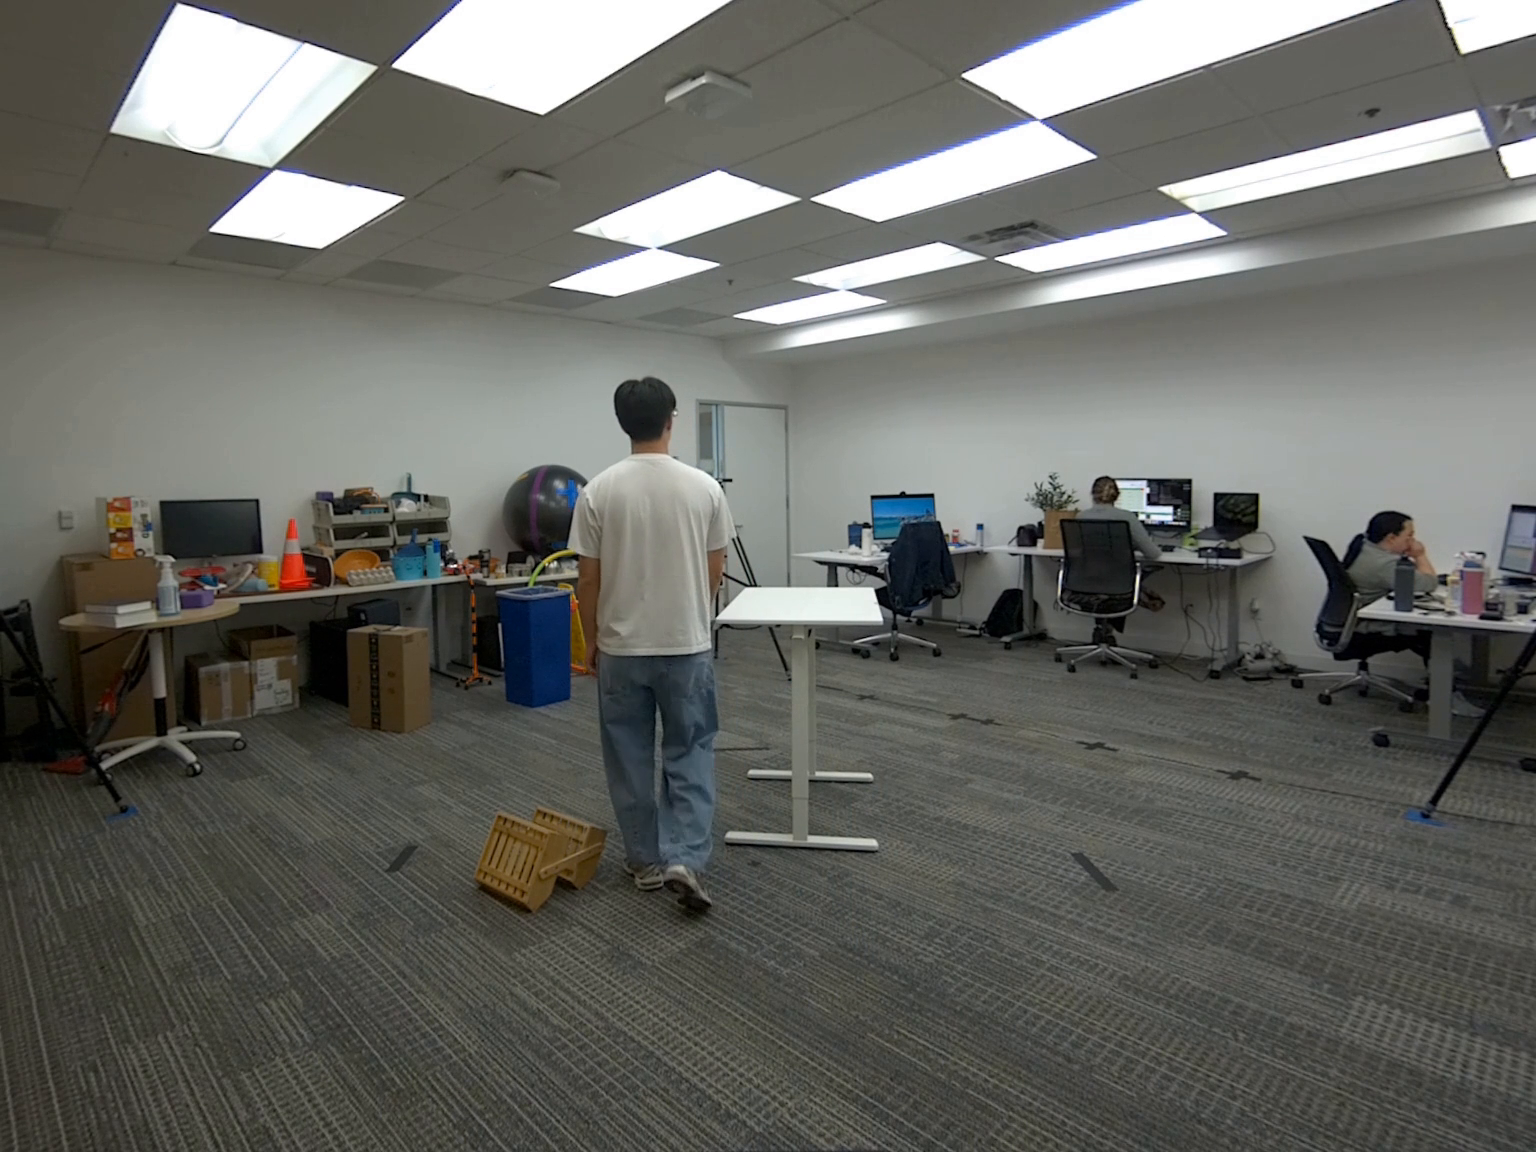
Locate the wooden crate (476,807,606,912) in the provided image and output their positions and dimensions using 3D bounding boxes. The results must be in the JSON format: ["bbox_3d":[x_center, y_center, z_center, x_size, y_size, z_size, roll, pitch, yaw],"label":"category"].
[{"bbox_3d":[-0.788,0.985,2.989,0.334,0.305,0.263,3,-21,39],"label":"wooden crate"}]
